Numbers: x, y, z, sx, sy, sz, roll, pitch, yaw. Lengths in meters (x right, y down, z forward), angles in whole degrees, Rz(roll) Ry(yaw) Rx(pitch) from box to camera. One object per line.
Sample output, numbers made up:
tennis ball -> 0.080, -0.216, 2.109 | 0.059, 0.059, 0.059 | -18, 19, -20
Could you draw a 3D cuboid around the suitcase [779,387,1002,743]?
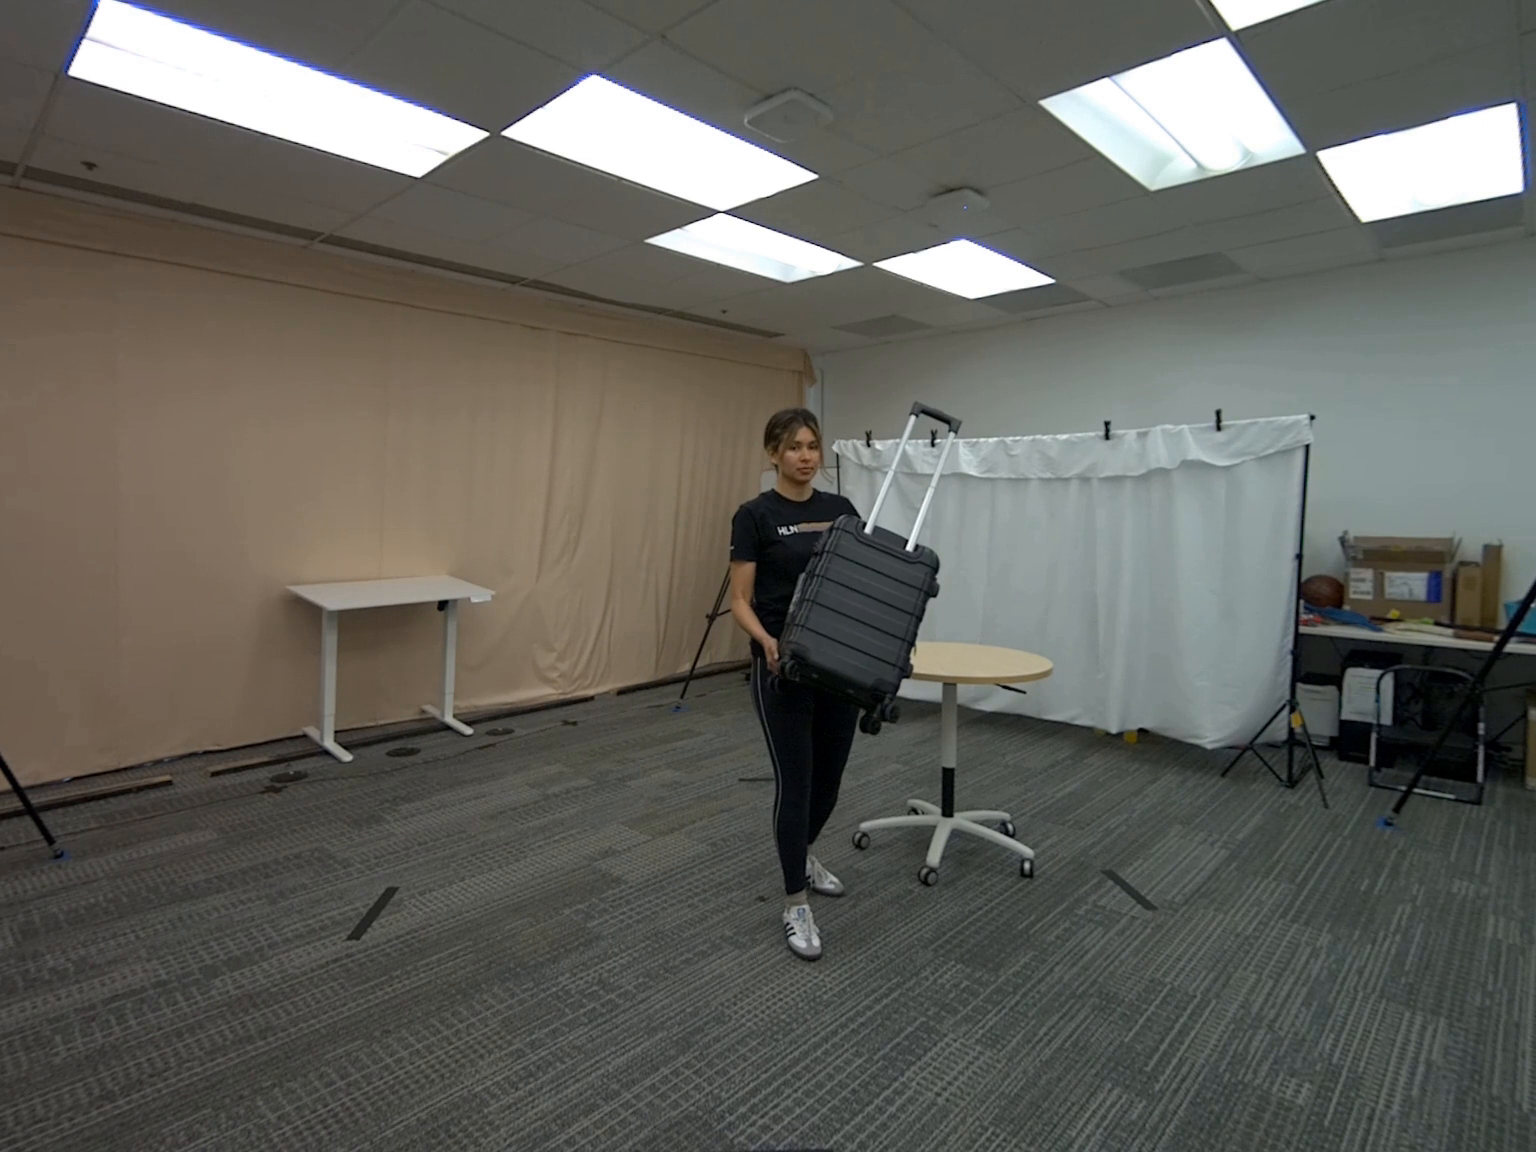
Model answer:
suitcase -> 0.339, -0.054, 2.544 | 0.387, 0.981, 0.254 | 22, -23, 5
